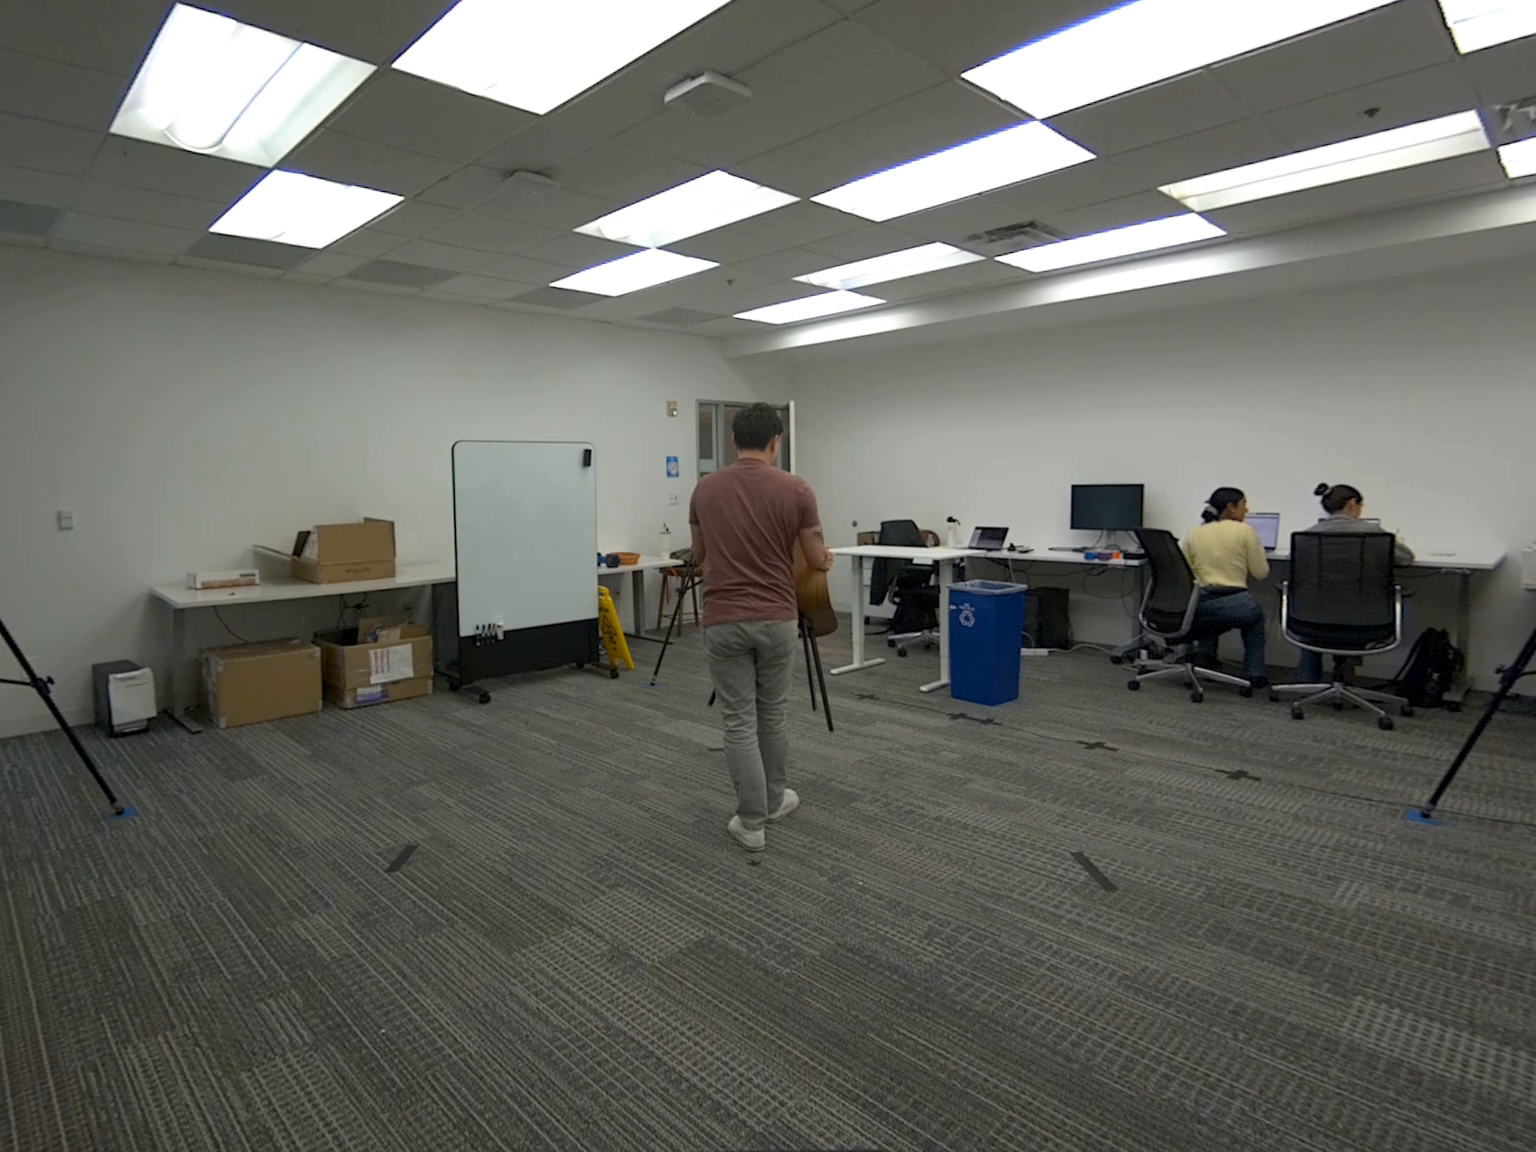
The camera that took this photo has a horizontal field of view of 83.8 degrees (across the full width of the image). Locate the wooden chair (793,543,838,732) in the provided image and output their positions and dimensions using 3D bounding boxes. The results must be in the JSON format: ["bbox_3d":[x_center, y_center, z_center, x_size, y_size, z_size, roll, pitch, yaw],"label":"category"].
[{"bbox_3d":[0.058,0.209,3.759,0.485,0.890,0.508,-2,-18,14],"label":"wooden chair"}]
